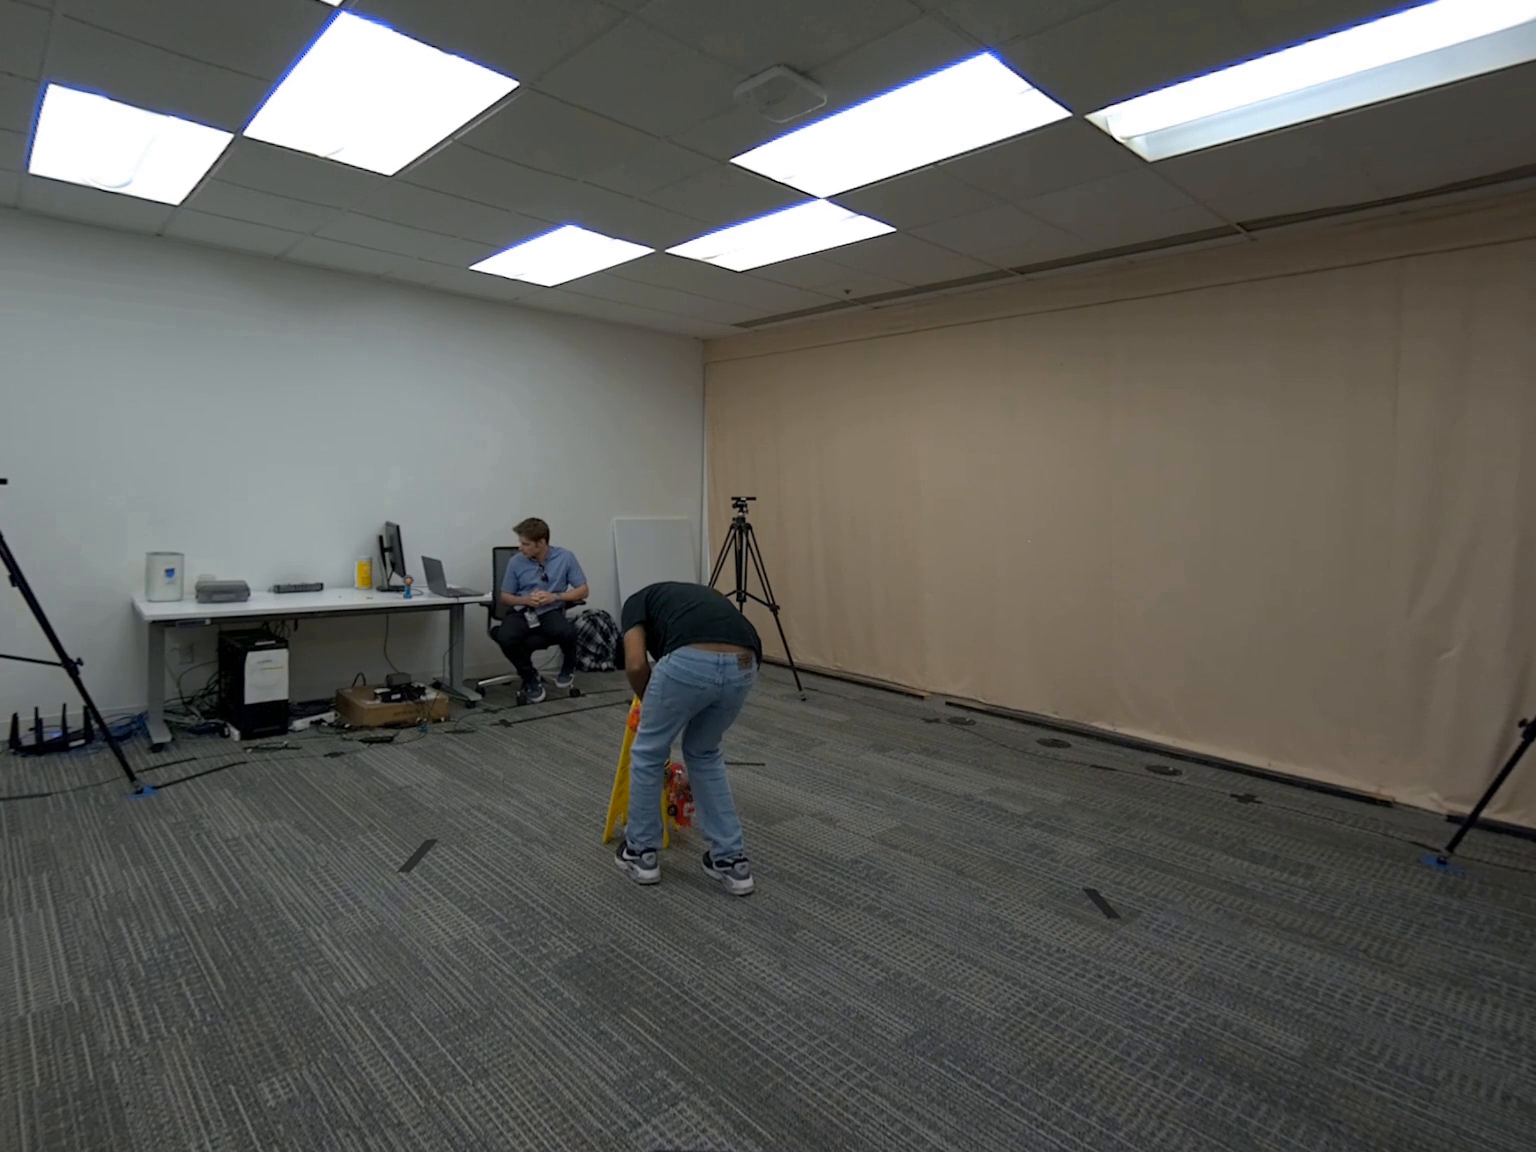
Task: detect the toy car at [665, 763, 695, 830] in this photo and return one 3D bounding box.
[{"bbox_3d":[-0.371,0.910,3.443,0.084,0.258,0.127,-23,-17,14],"label":"toy car"}]
